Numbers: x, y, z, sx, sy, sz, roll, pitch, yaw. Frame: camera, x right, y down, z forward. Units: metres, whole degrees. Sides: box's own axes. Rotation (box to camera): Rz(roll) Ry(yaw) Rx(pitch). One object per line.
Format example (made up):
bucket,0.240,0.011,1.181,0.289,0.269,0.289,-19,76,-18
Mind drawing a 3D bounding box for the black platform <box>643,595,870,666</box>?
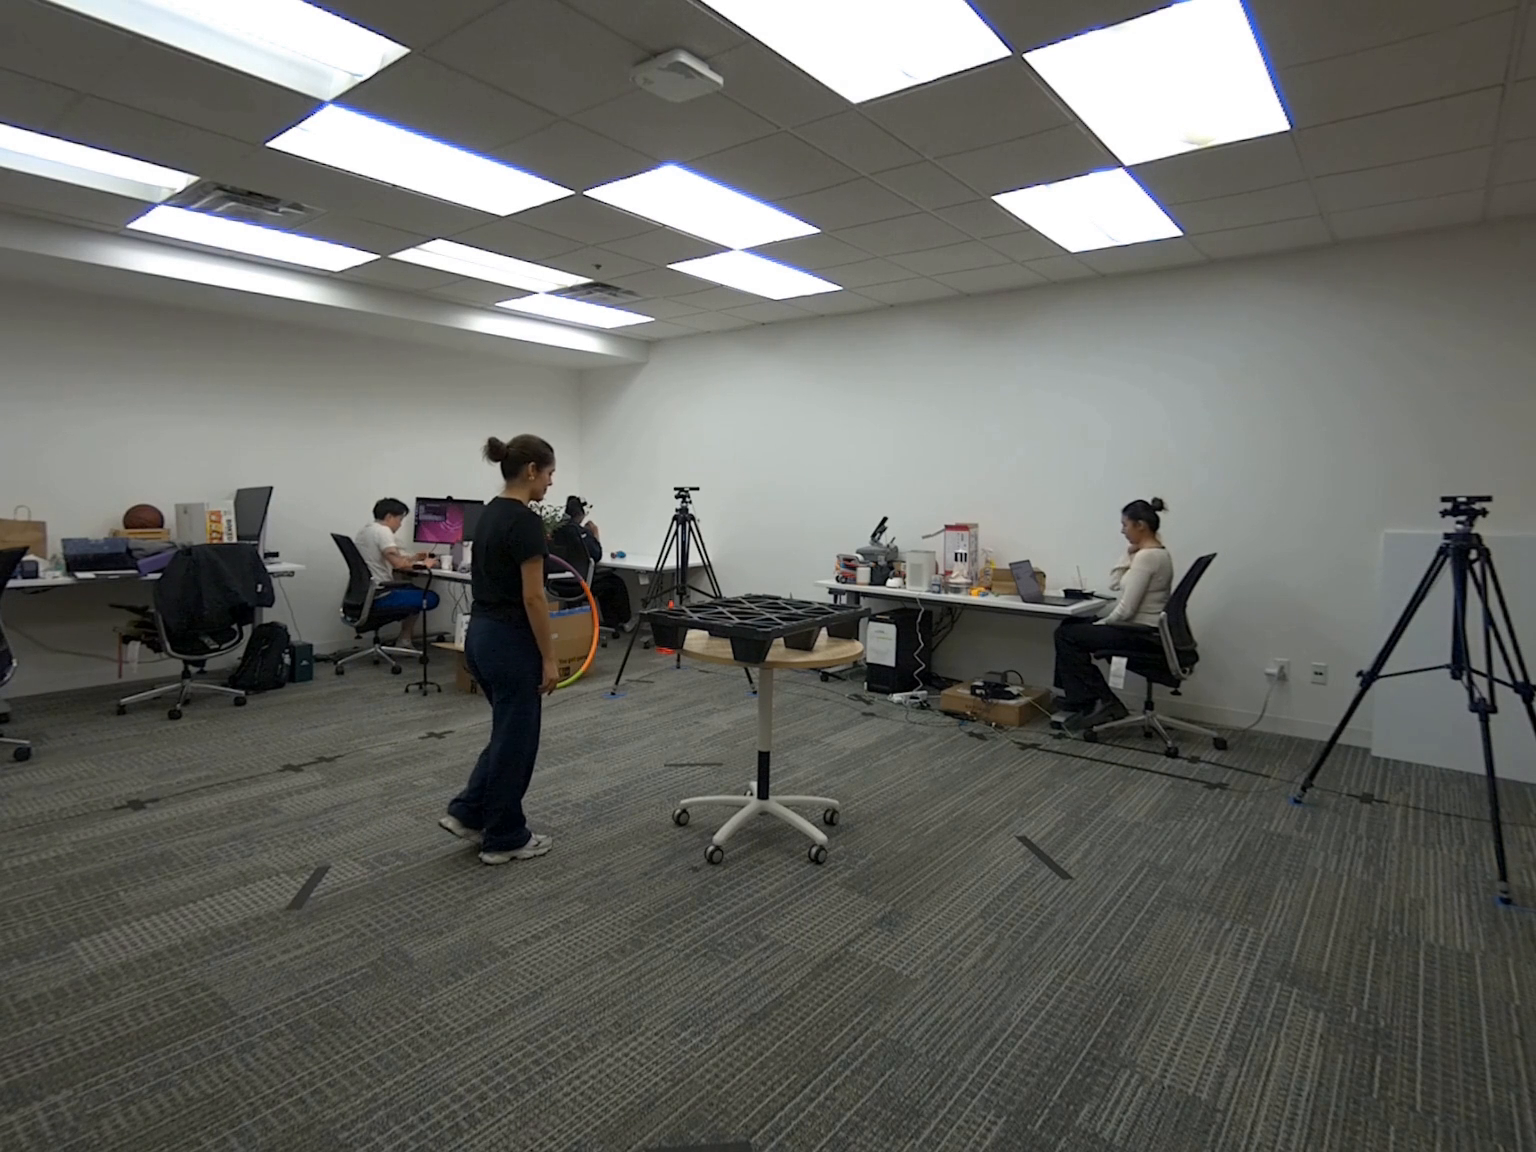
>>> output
black platform,-0.012,0.199,3.396,0.625,0.142,0.783,6,8,36
